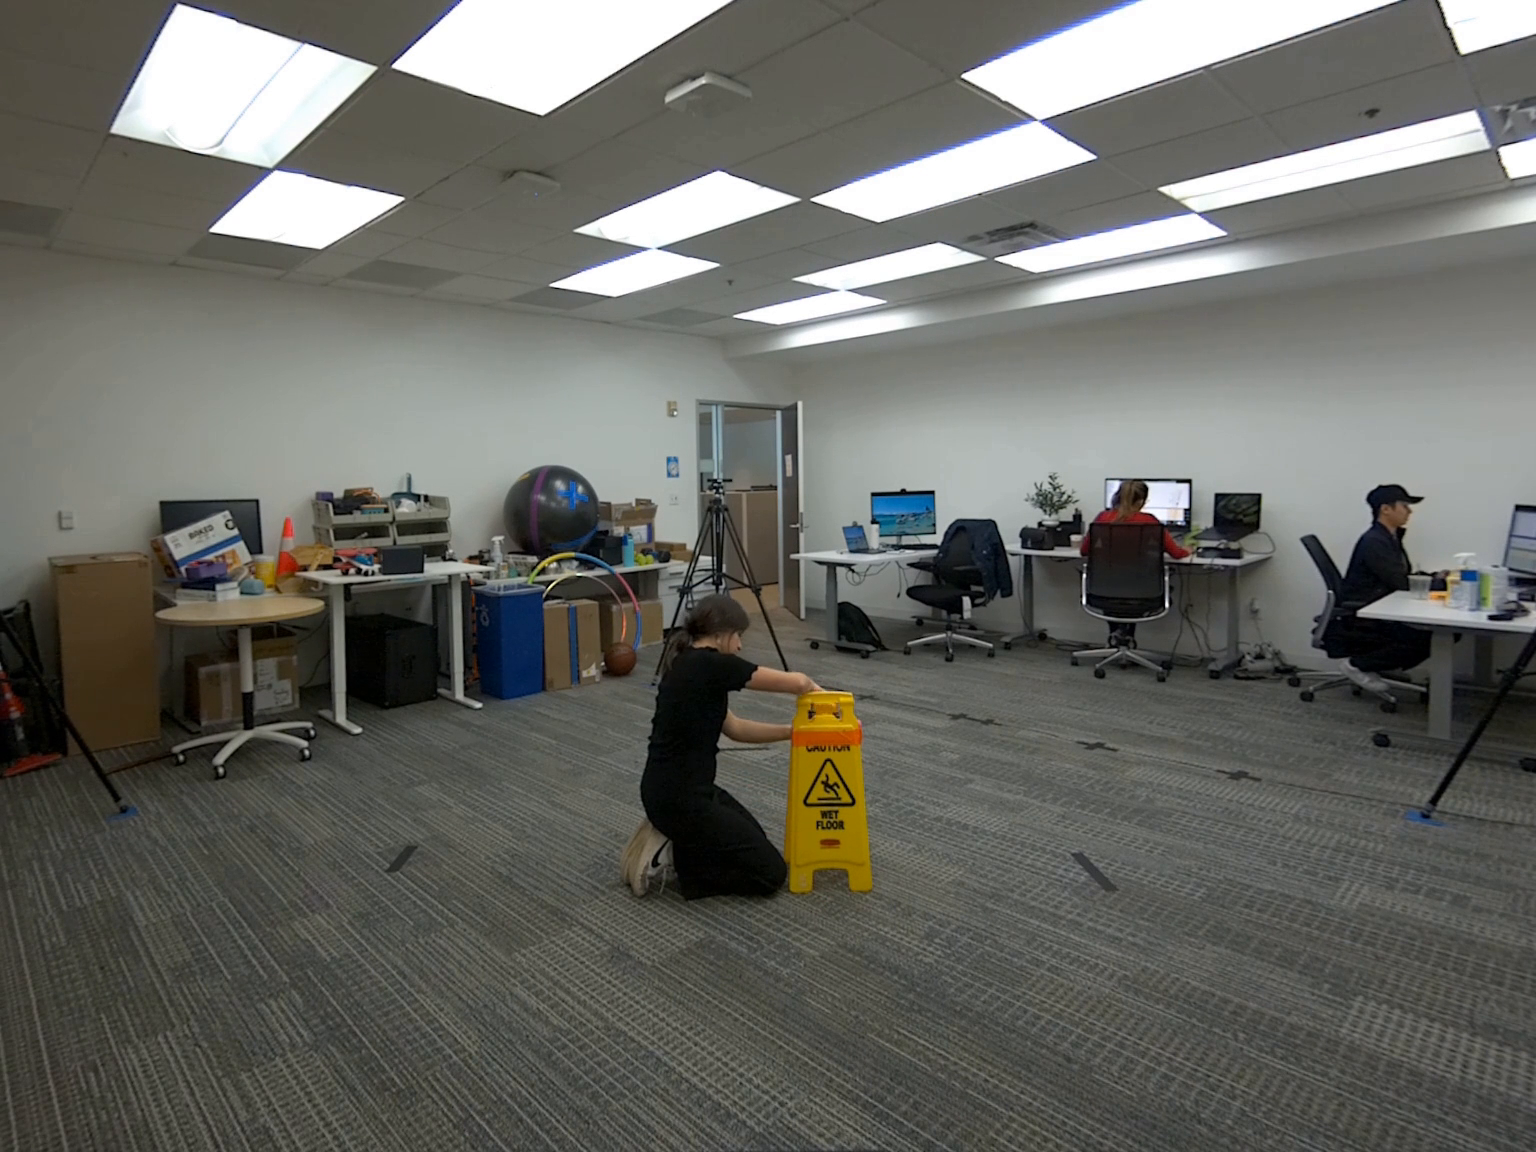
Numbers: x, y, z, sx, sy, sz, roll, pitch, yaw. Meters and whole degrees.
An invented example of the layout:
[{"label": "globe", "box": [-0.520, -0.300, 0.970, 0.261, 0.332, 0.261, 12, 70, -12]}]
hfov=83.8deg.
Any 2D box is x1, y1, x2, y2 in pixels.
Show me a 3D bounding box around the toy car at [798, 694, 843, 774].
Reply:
[{"label": "toy car", "box": [0.182, 0.557, 3.032, 0.130, 0.254, 0.083, 3, 1, -5]}]
